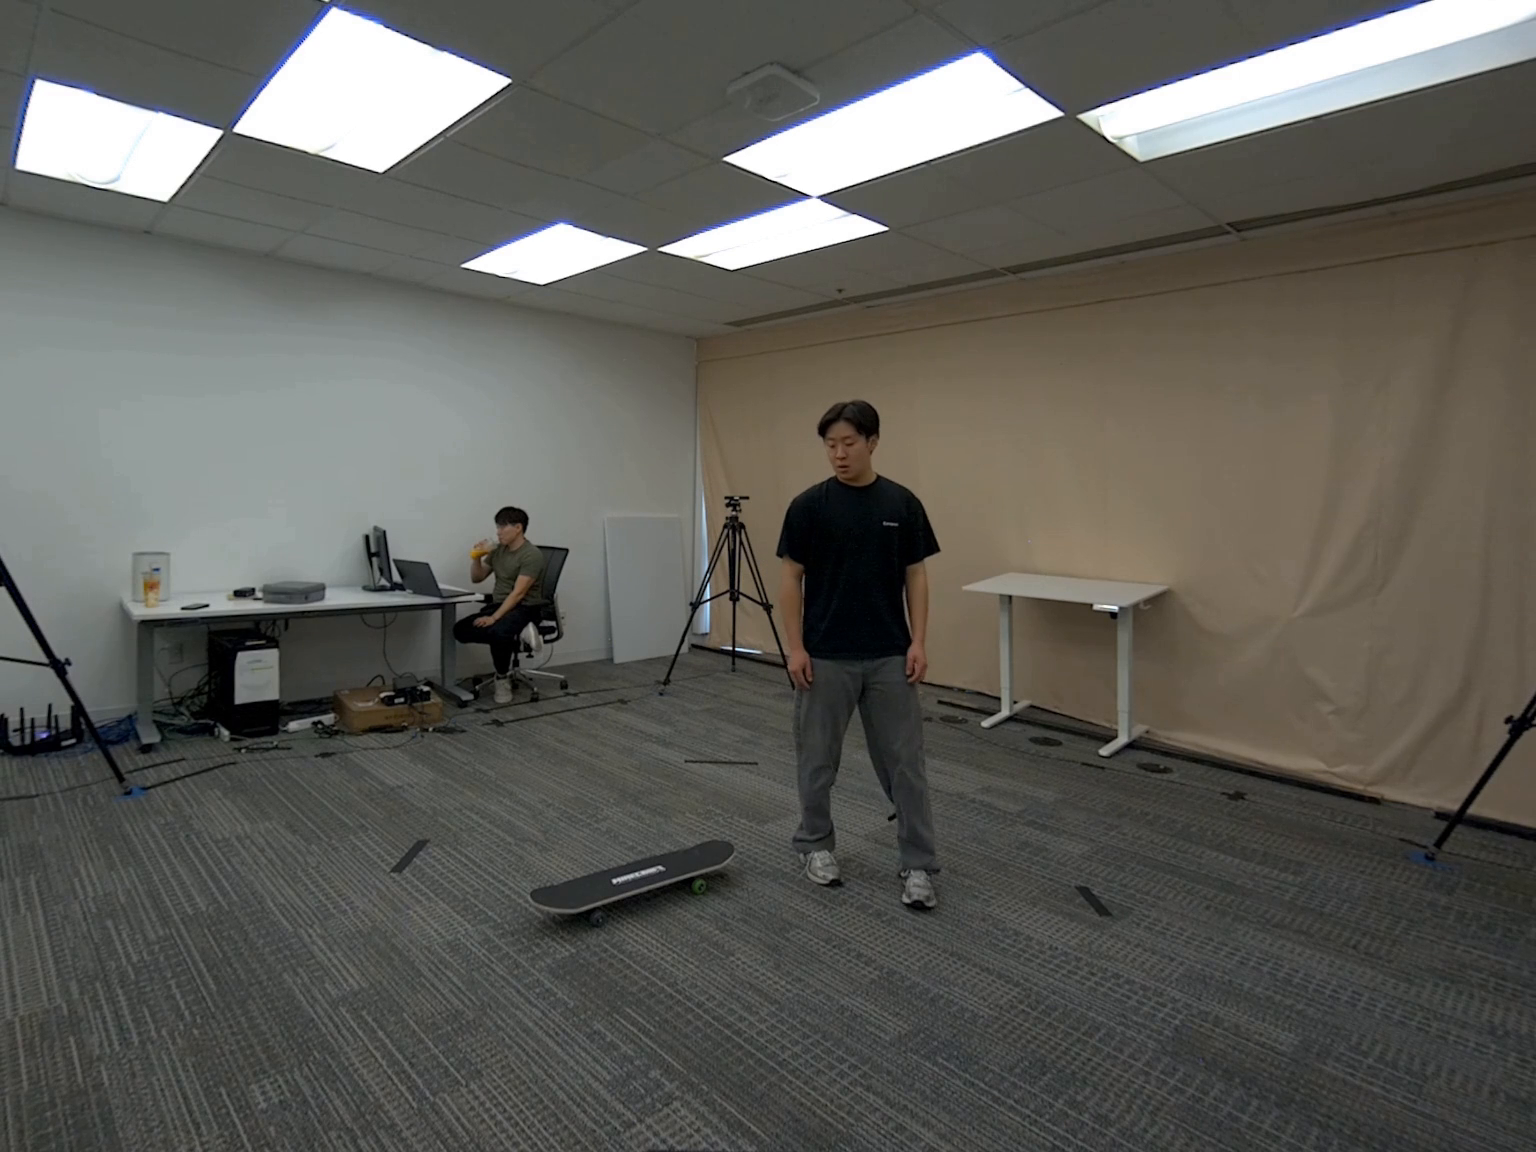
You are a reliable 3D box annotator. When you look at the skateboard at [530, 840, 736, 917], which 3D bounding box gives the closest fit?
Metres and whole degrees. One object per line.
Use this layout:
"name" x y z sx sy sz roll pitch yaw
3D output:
"skateboard" -0.450 1.060 2.892 0.768 0.110 0.198 -3 7 -38
